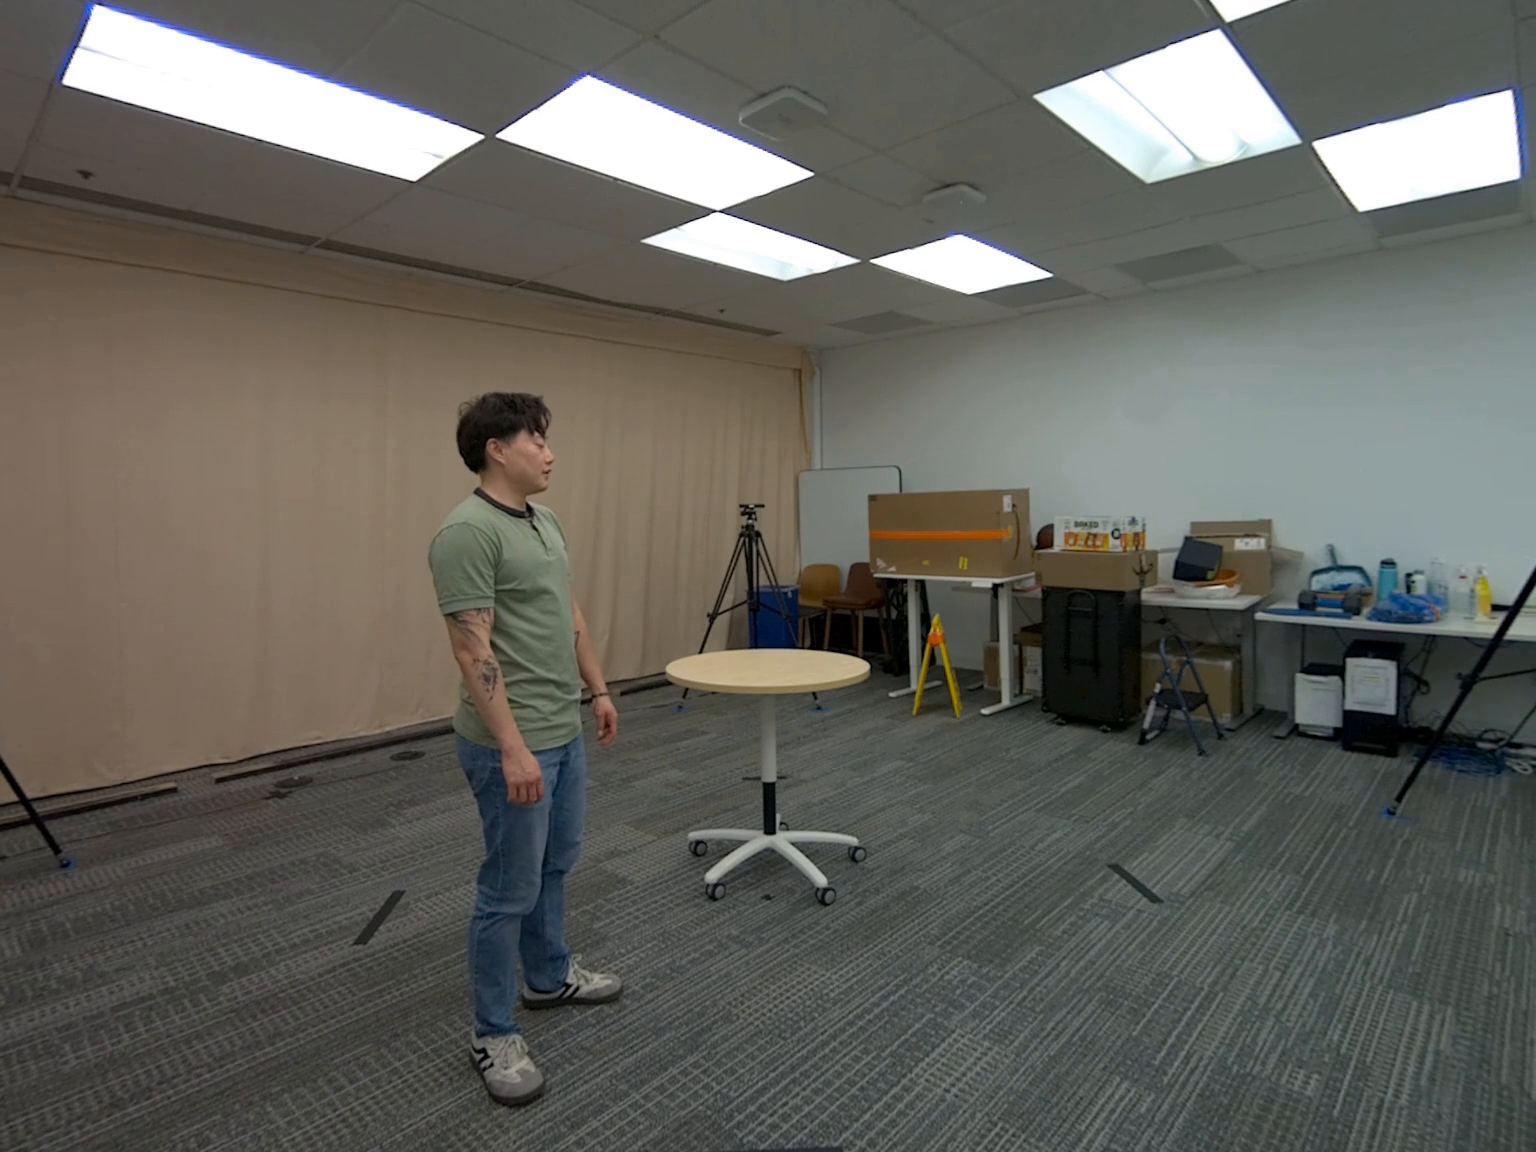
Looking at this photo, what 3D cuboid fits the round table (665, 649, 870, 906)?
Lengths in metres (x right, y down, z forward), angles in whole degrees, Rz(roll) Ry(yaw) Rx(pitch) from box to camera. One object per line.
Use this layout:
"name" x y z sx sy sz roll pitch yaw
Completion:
"round table" 0.009 0.732 3.191 0.763 0.792 0.766 -1 3 -2
